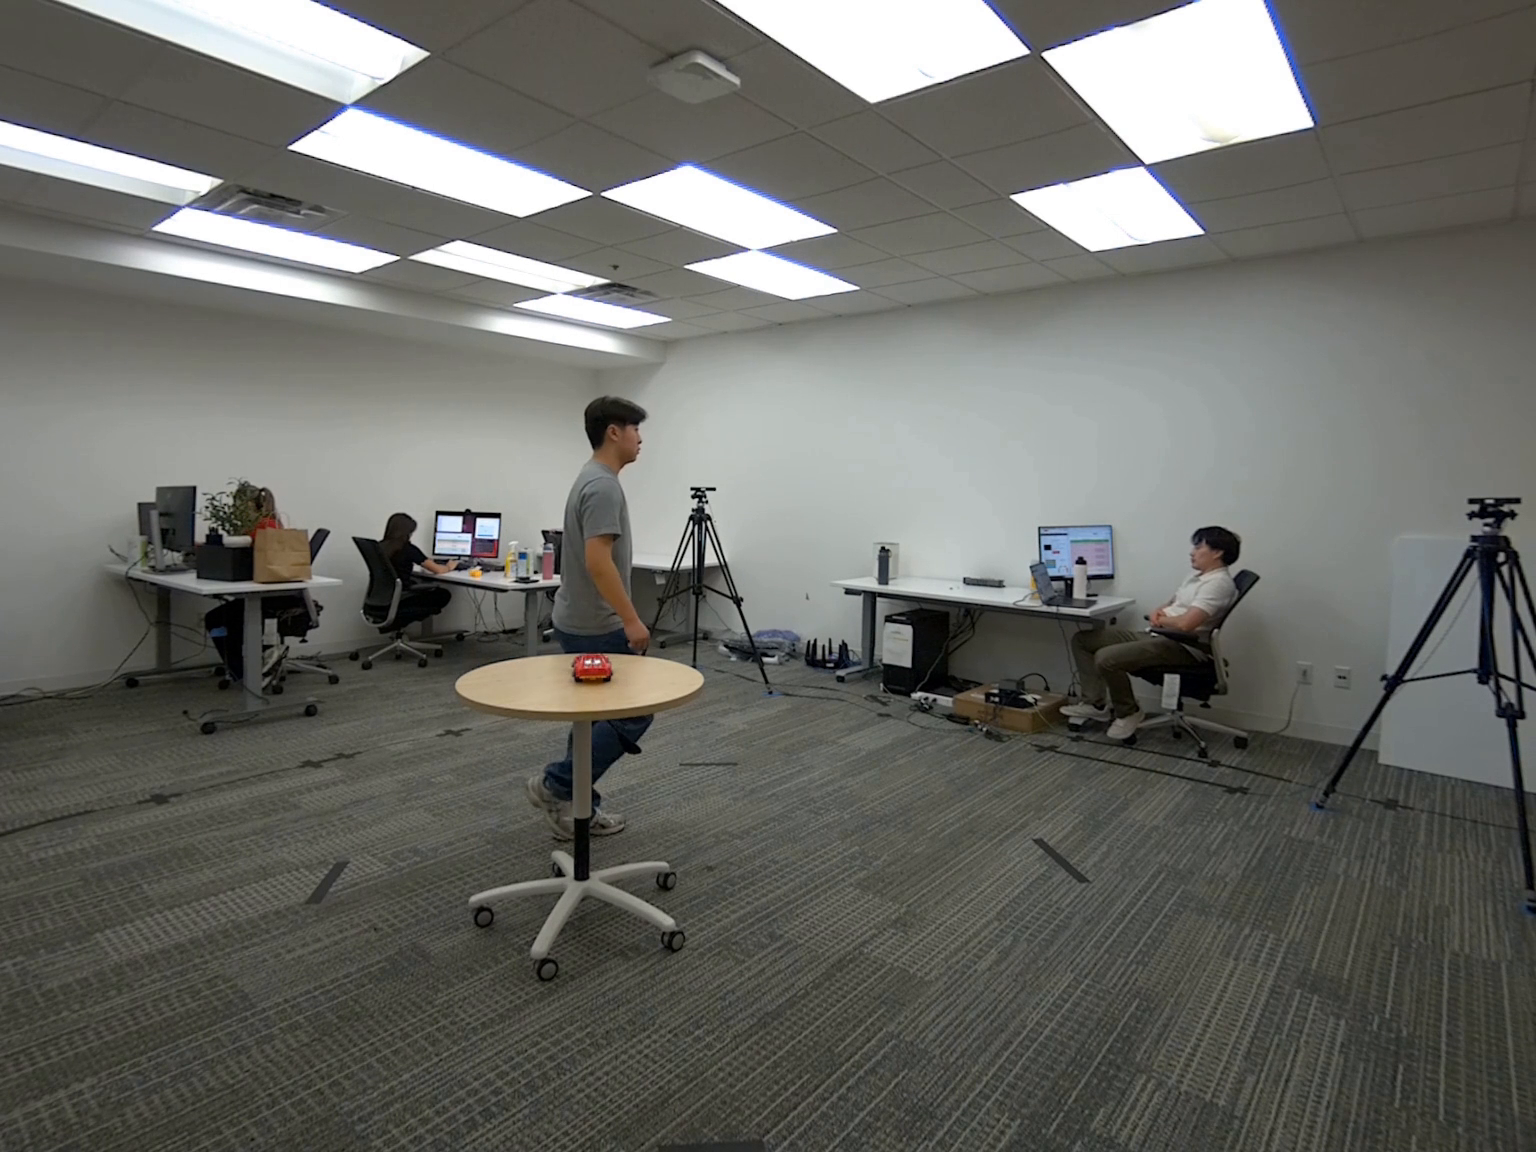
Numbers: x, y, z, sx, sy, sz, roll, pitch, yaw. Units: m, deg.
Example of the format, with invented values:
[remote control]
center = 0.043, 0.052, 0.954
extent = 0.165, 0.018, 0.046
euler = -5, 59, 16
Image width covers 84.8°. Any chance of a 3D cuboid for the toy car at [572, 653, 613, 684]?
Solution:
[toy car]
center = -0.576, 0.285, 2.684
extent = 0.129, 0.084, 0.256
euler = 0, -5, -12
